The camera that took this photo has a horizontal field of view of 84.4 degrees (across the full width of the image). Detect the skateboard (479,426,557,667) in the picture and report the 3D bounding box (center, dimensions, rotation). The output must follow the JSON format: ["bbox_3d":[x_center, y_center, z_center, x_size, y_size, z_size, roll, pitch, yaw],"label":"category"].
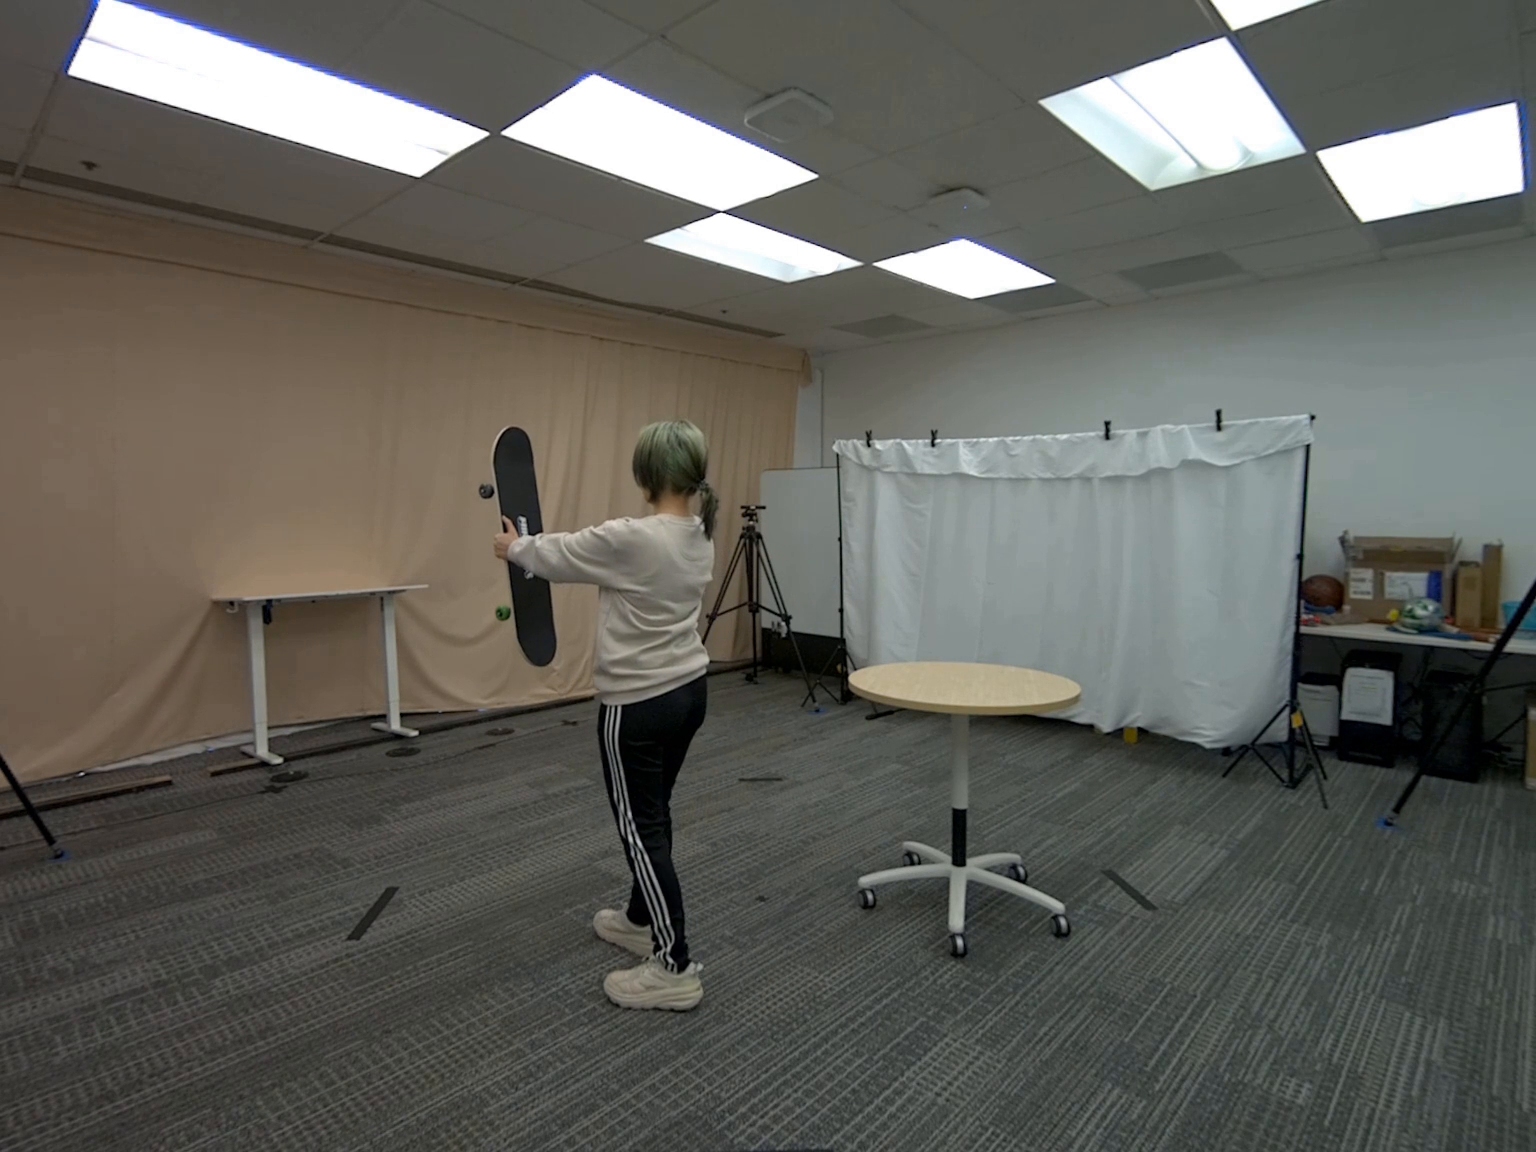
[{"bbox_3d":[-0.825,-0.089,2.762,0.113,0.783,0.189,-4,4,28],"label":"skateboard"}]
